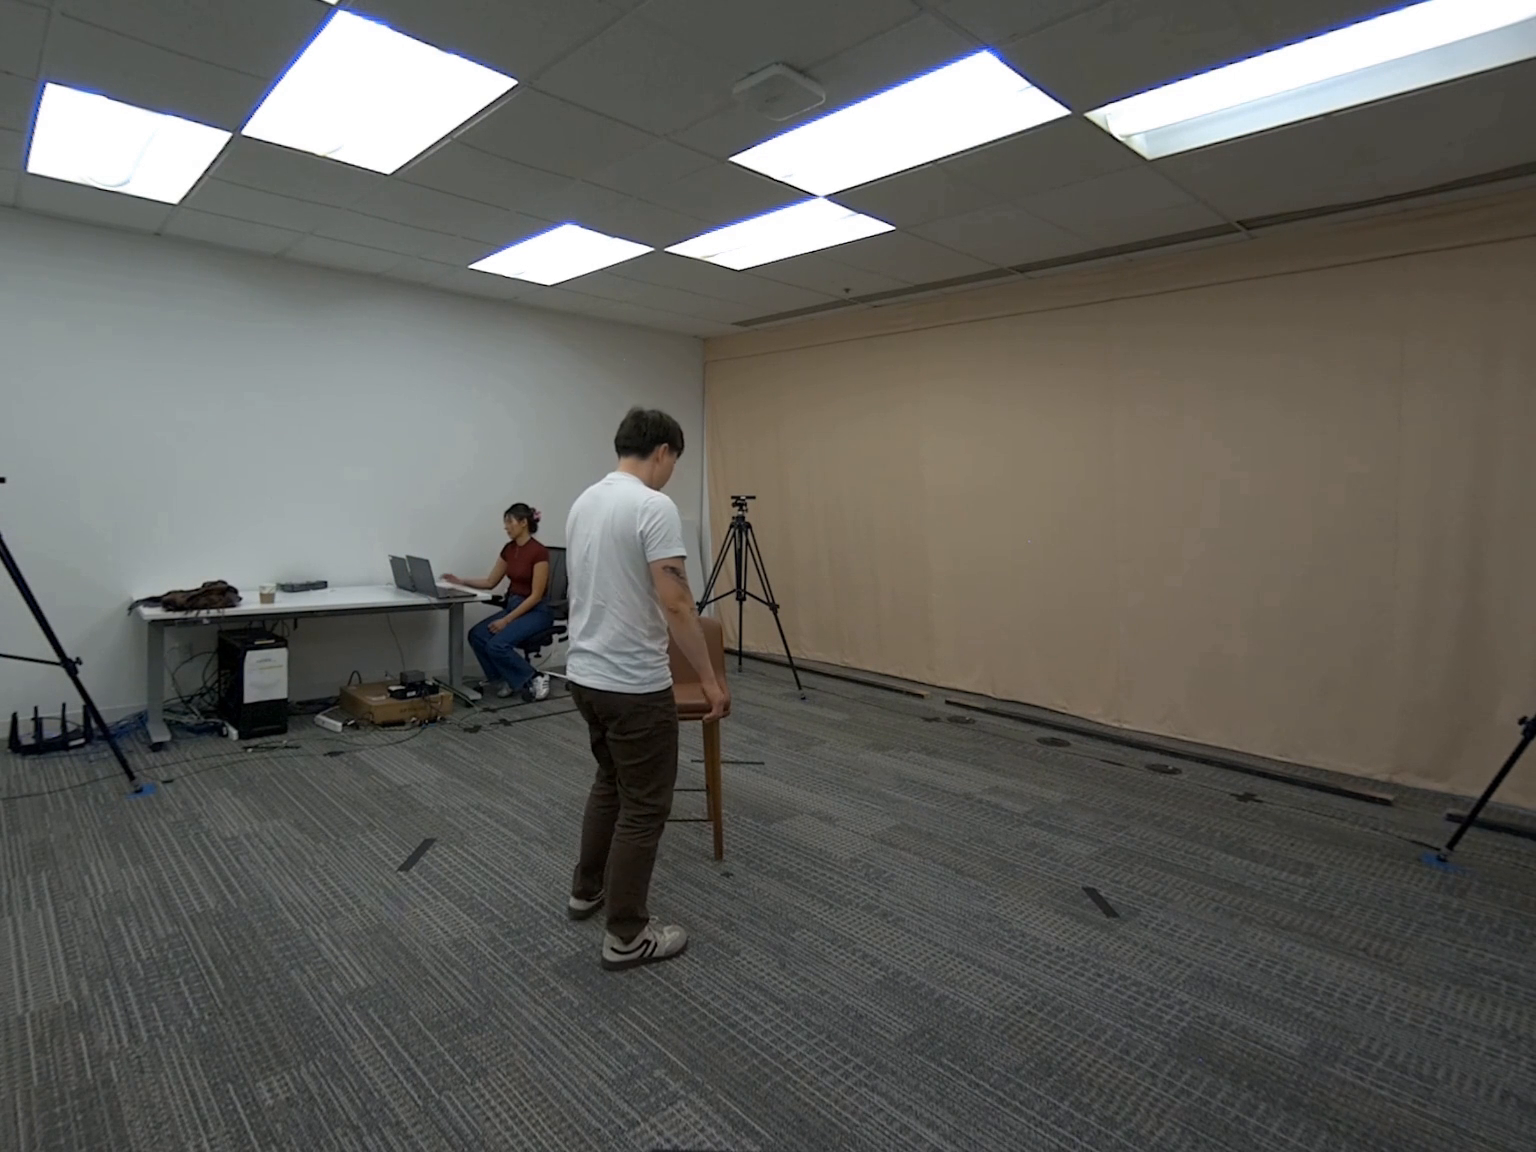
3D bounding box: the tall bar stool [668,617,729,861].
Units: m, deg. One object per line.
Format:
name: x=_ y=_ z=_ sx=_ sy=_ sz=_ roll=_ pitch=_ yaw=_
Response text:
tall bar stool: x=-0.390 y=0.637 z=3.410 sx=0.455 sy=0.889 sz=0.470 roll=1 pitch=1 yaw=-5
